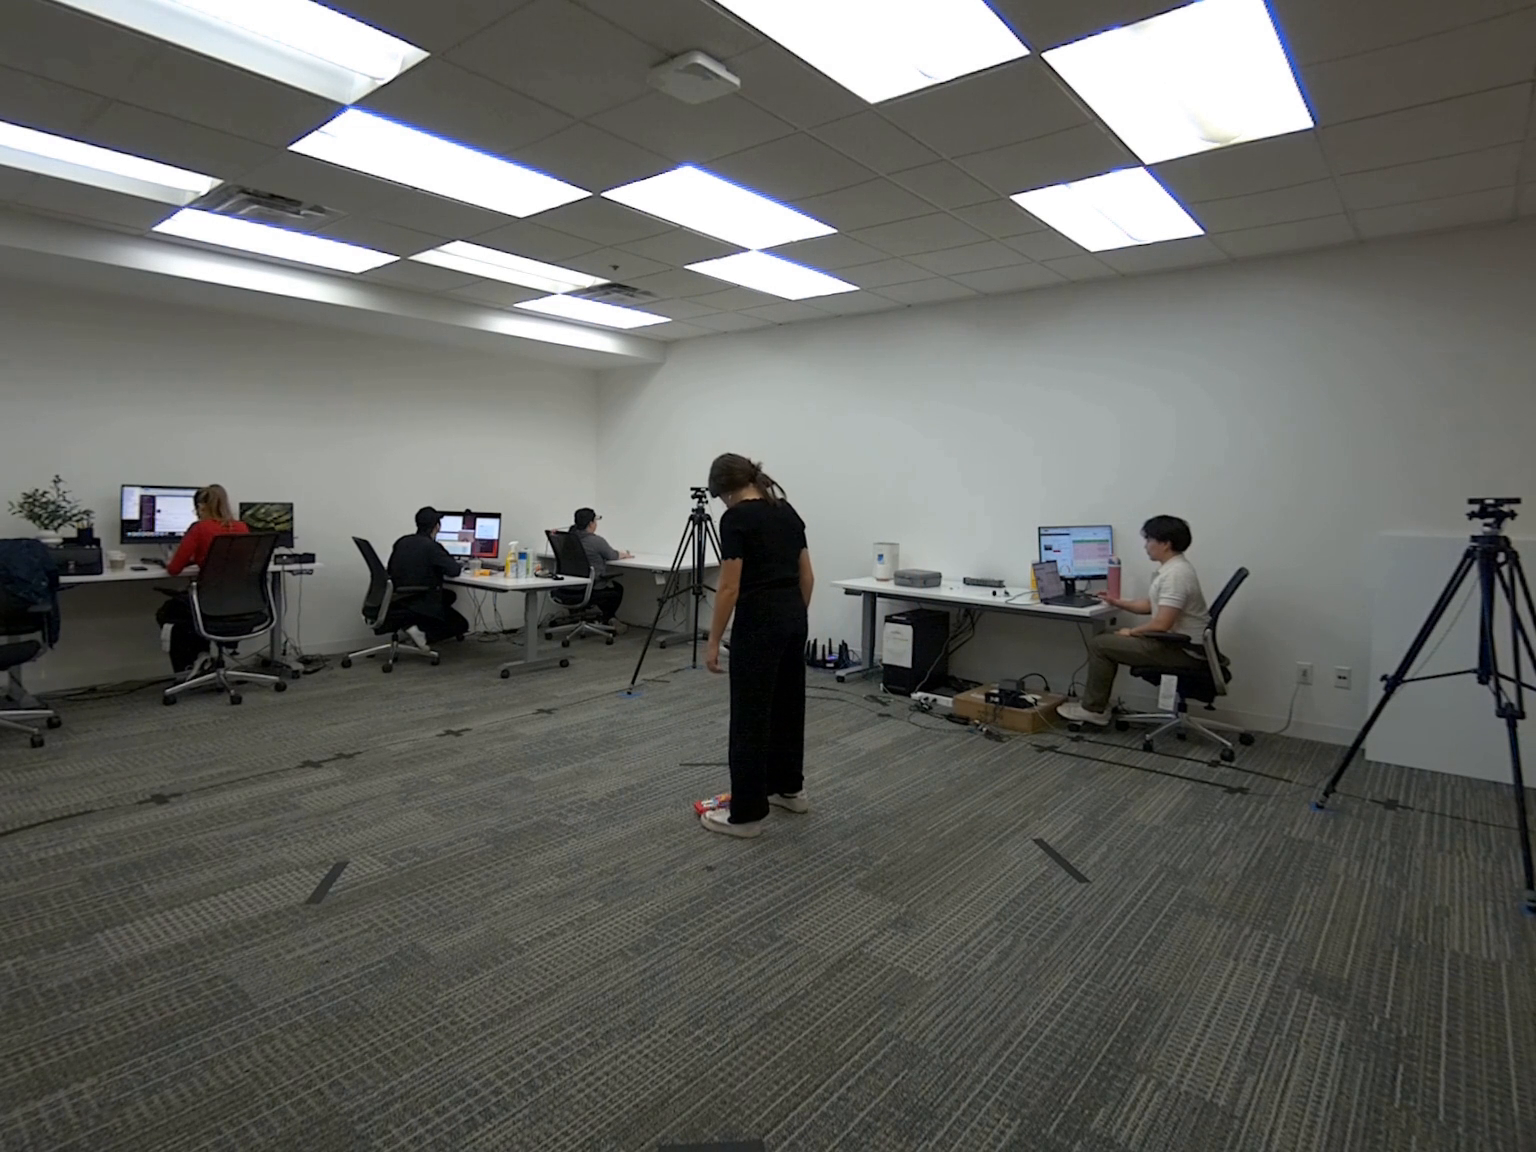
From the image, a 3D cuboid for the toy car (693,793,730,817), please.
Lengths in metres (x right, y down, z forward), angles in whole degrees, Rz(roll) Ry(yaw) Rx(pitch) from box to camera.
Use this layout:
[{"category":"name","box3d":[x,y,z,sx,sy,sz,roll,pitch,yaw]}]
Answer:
[{"category":"toy car","box3d":[-0.196,0.981,3.647,0.250,0.082,0.133,-13,10,-19]}]
